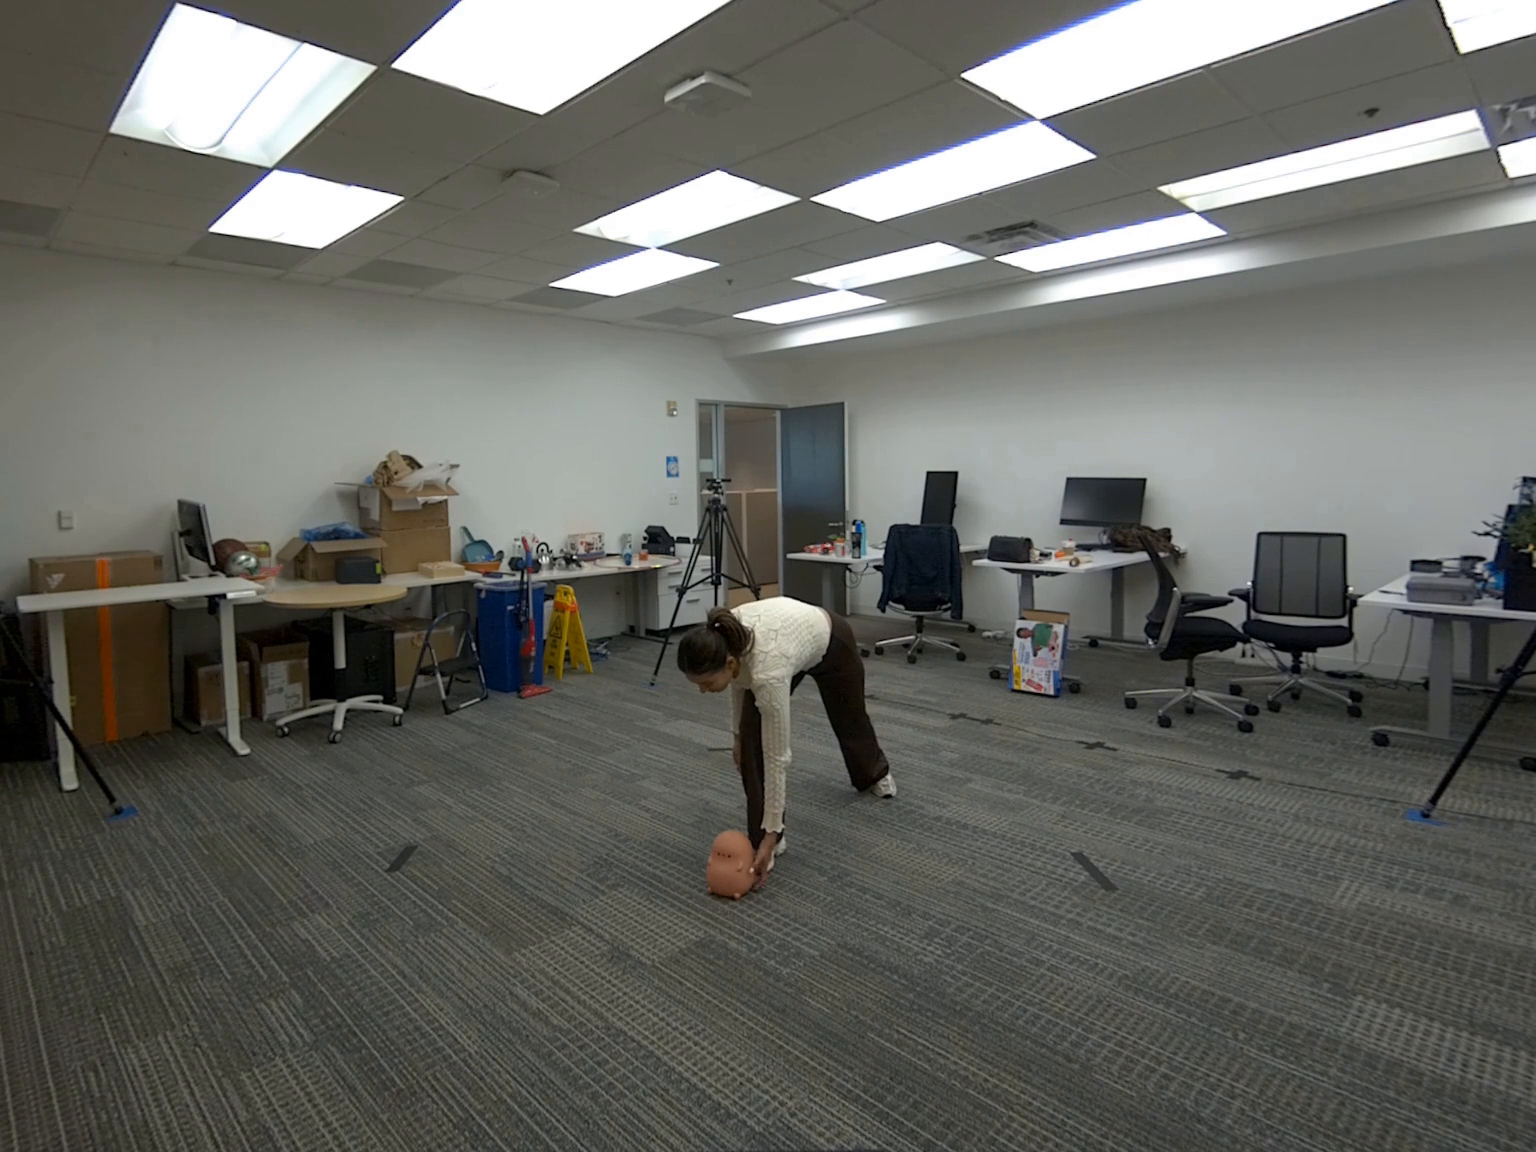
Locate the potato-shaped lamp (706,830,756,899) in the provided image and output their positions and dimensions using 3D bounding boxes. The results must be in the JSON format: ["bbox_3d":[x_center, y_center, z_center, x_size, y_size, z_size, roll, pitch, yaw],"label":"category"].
[{"bbox_3d":[-0.118,0.970,2.901,0.169,0.197,0.168,3,8,28],"label":"potato-shaped lamp"}]
